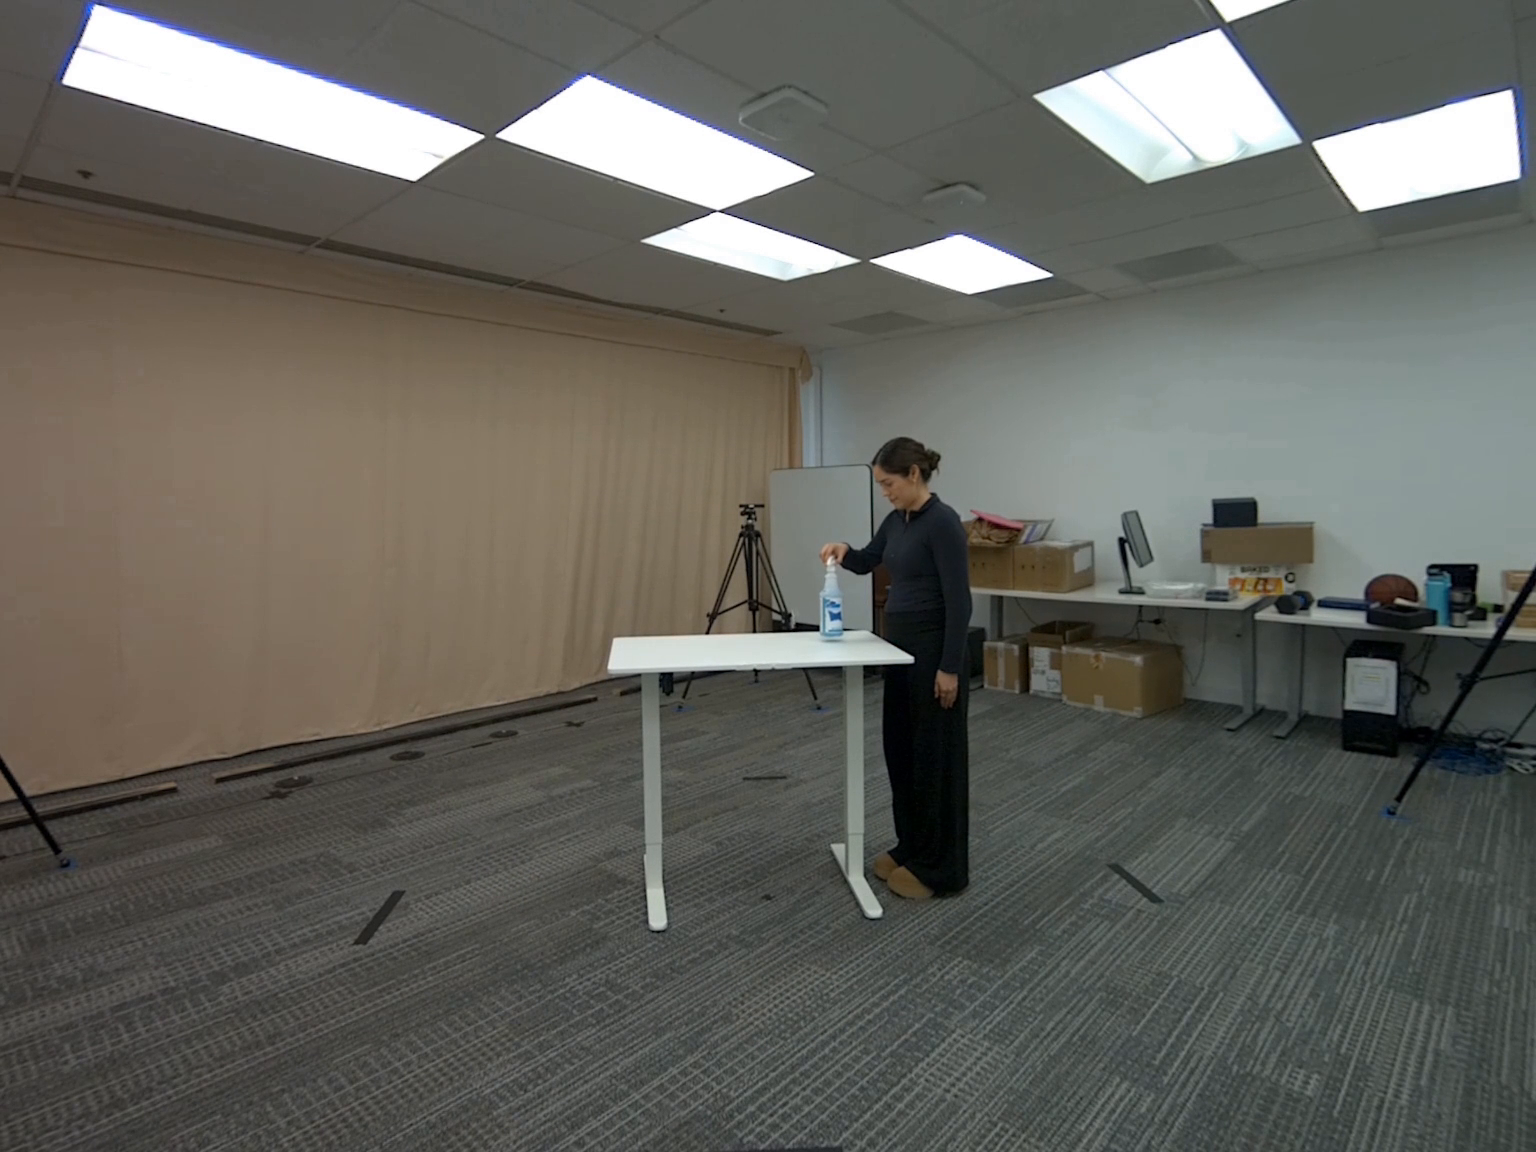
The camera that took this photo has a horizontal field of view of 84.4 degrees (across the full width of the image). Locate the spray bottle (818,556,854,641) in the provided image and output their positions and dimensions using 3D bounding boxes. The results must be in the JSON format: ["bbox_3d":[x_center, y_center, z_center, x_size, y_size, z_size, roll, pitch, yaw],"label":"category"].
[{"bbox_3d":[0.248,0.077,3.105,0.090,0.297,0.087,3,3,45],"label":"spray bottle"}]
